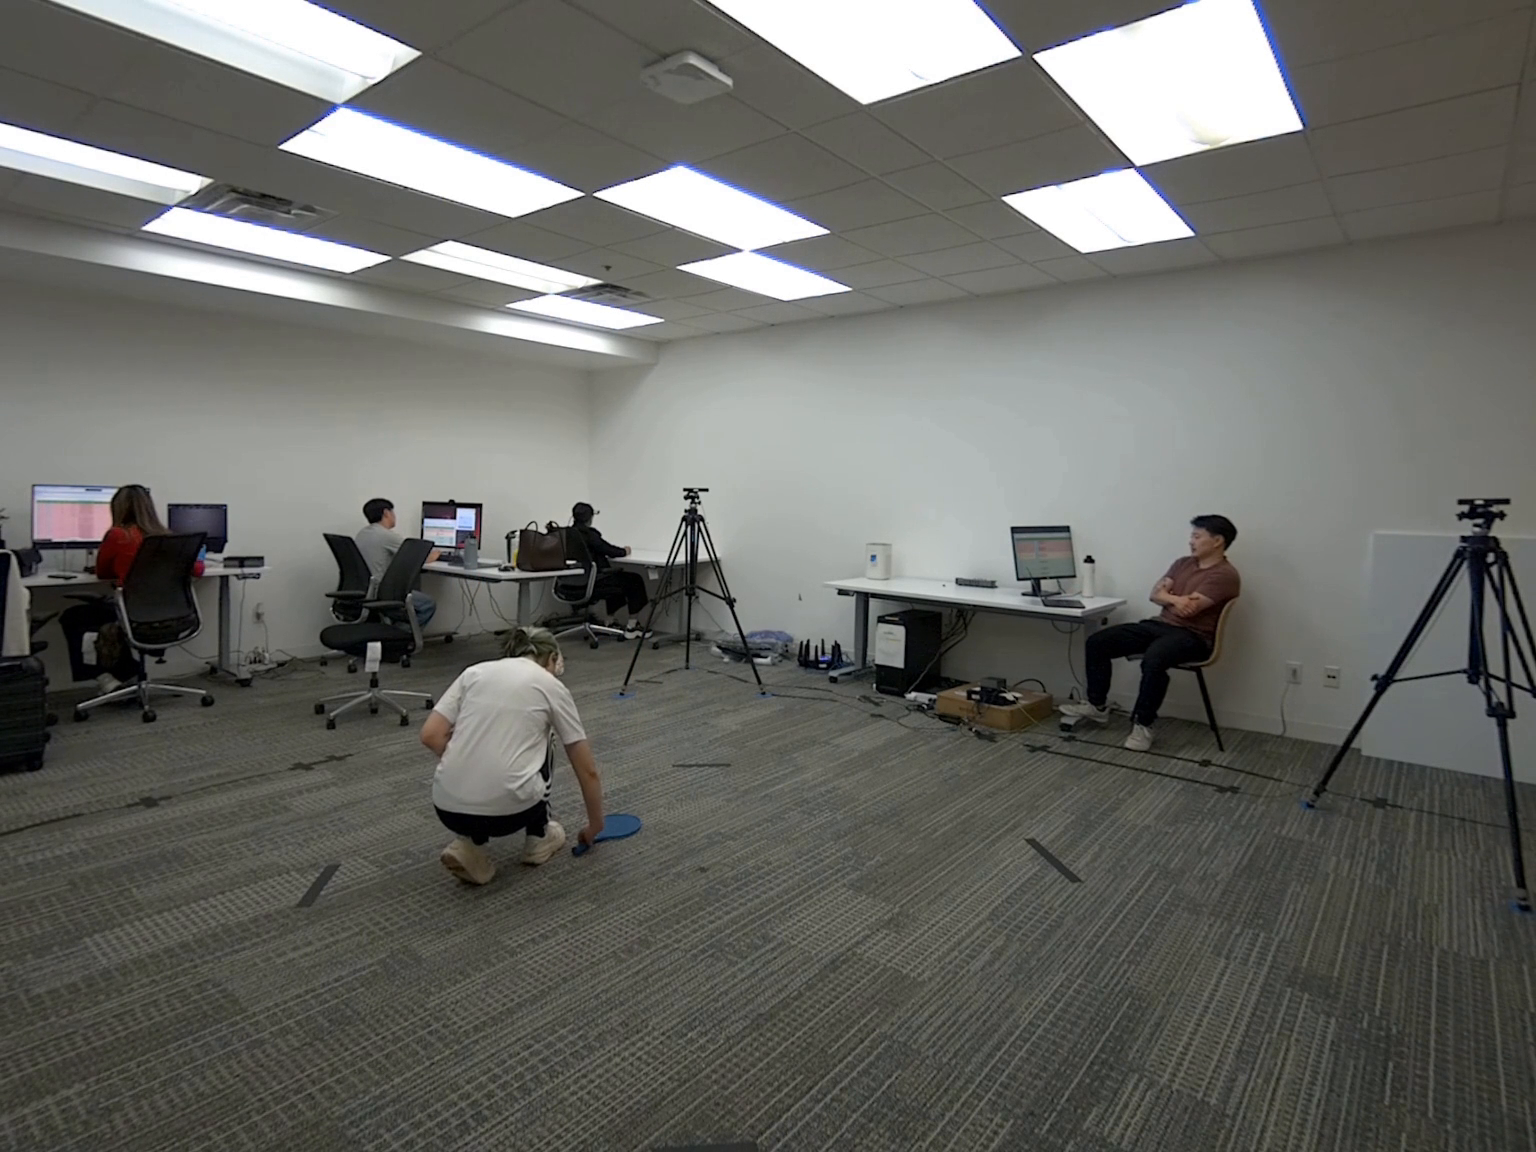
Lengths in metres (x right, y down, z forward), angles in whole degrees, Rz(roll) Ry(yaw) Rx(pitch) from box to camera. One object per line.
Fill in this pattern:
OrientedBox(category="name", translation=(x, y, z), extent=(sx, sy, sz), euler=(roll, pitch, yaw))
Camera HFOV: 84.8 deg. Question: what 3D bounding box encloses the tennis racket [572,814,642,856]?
OrientedBox(category="tennis racket", translation=(-0.670, 1.021, 3.398), extent=(0.219, 0.032, 0.423), euler=(3, 4, 22))
